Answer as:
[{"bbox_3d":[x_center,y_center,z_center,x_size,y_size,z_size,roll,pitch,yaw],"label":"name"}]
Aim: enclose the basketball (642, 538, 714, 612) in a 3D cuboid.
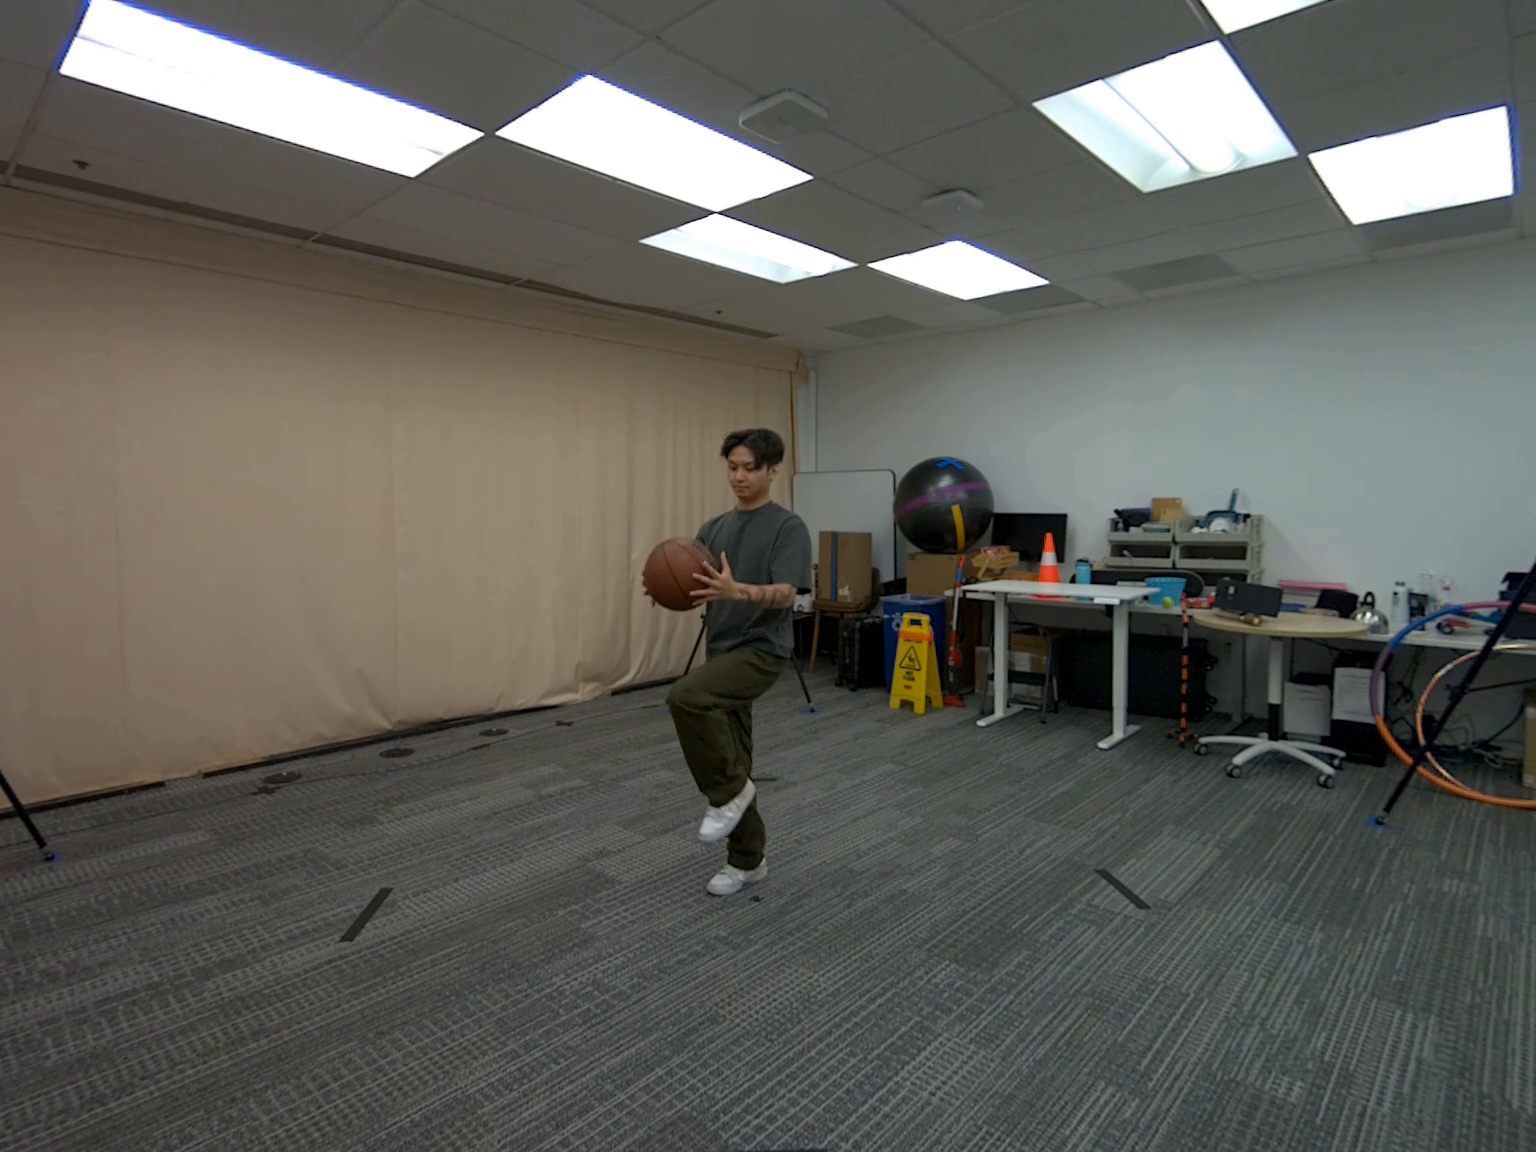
[{"bbox_3d":[-0.282,-0.006,2.713,0.236,0.235,0.237,0,4,-2],"label":"basketball"}]
